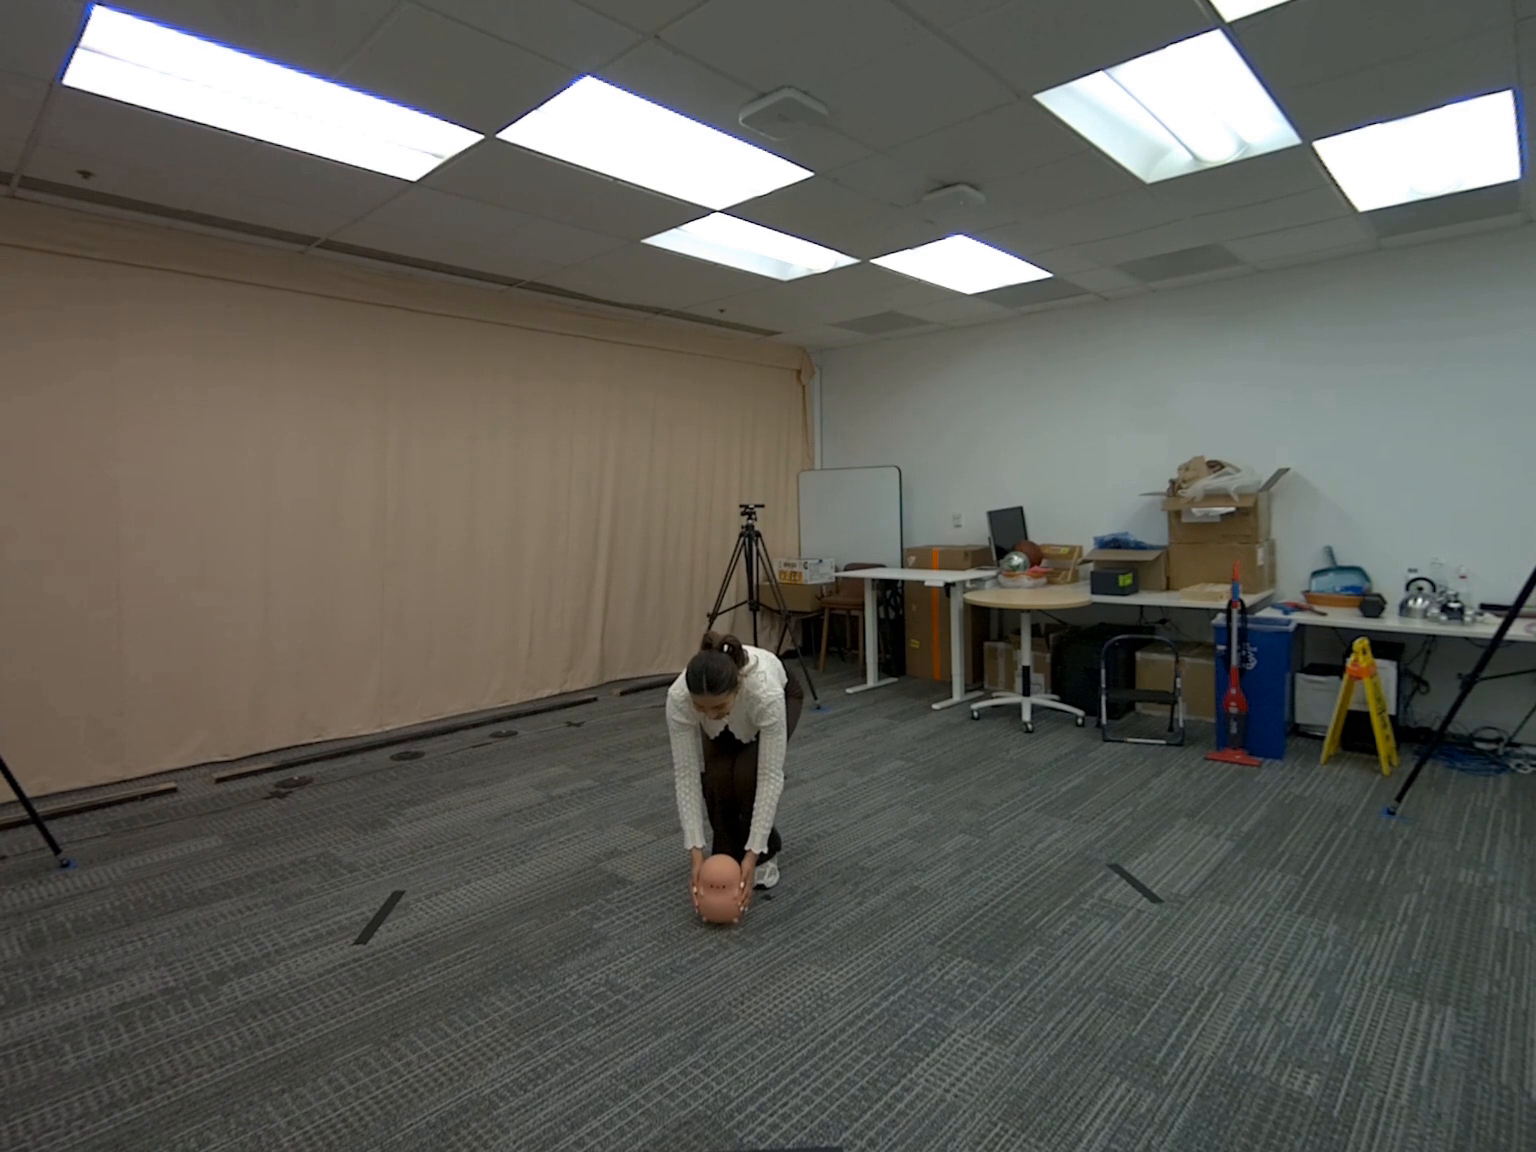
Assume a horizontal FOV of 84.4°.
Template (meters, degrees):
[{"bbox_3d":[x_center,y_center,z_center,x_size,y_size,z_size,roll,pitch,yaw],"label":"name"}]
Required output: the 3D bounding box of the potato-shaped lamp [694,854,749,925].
[{"bbox_3d":[-0.153,1.015,2.791,0.166,0.196,0.171,2,20,9],"label":"potato-shaped lamp"}]
